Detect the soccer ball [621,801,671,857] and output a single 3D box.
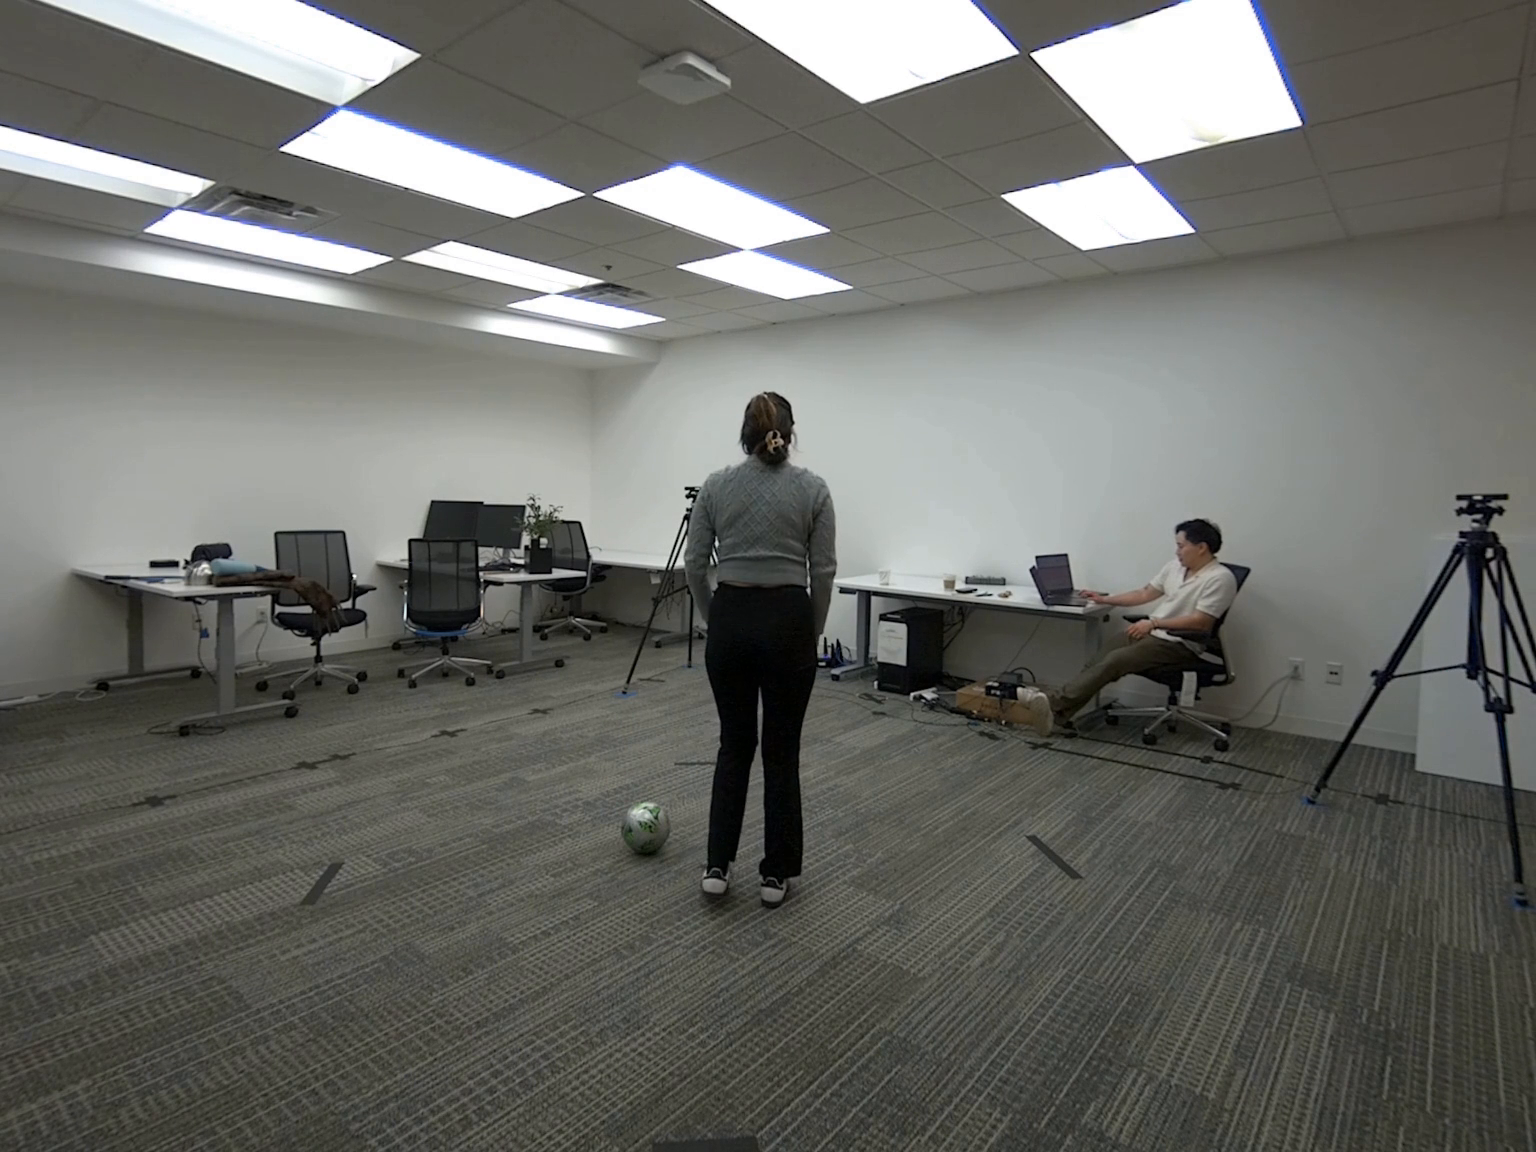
[{"bbox_3d":[-0.474,0.951,3.238,0.187,0.187,0.188,1,4,-2],"label":"soccer ball"}]
